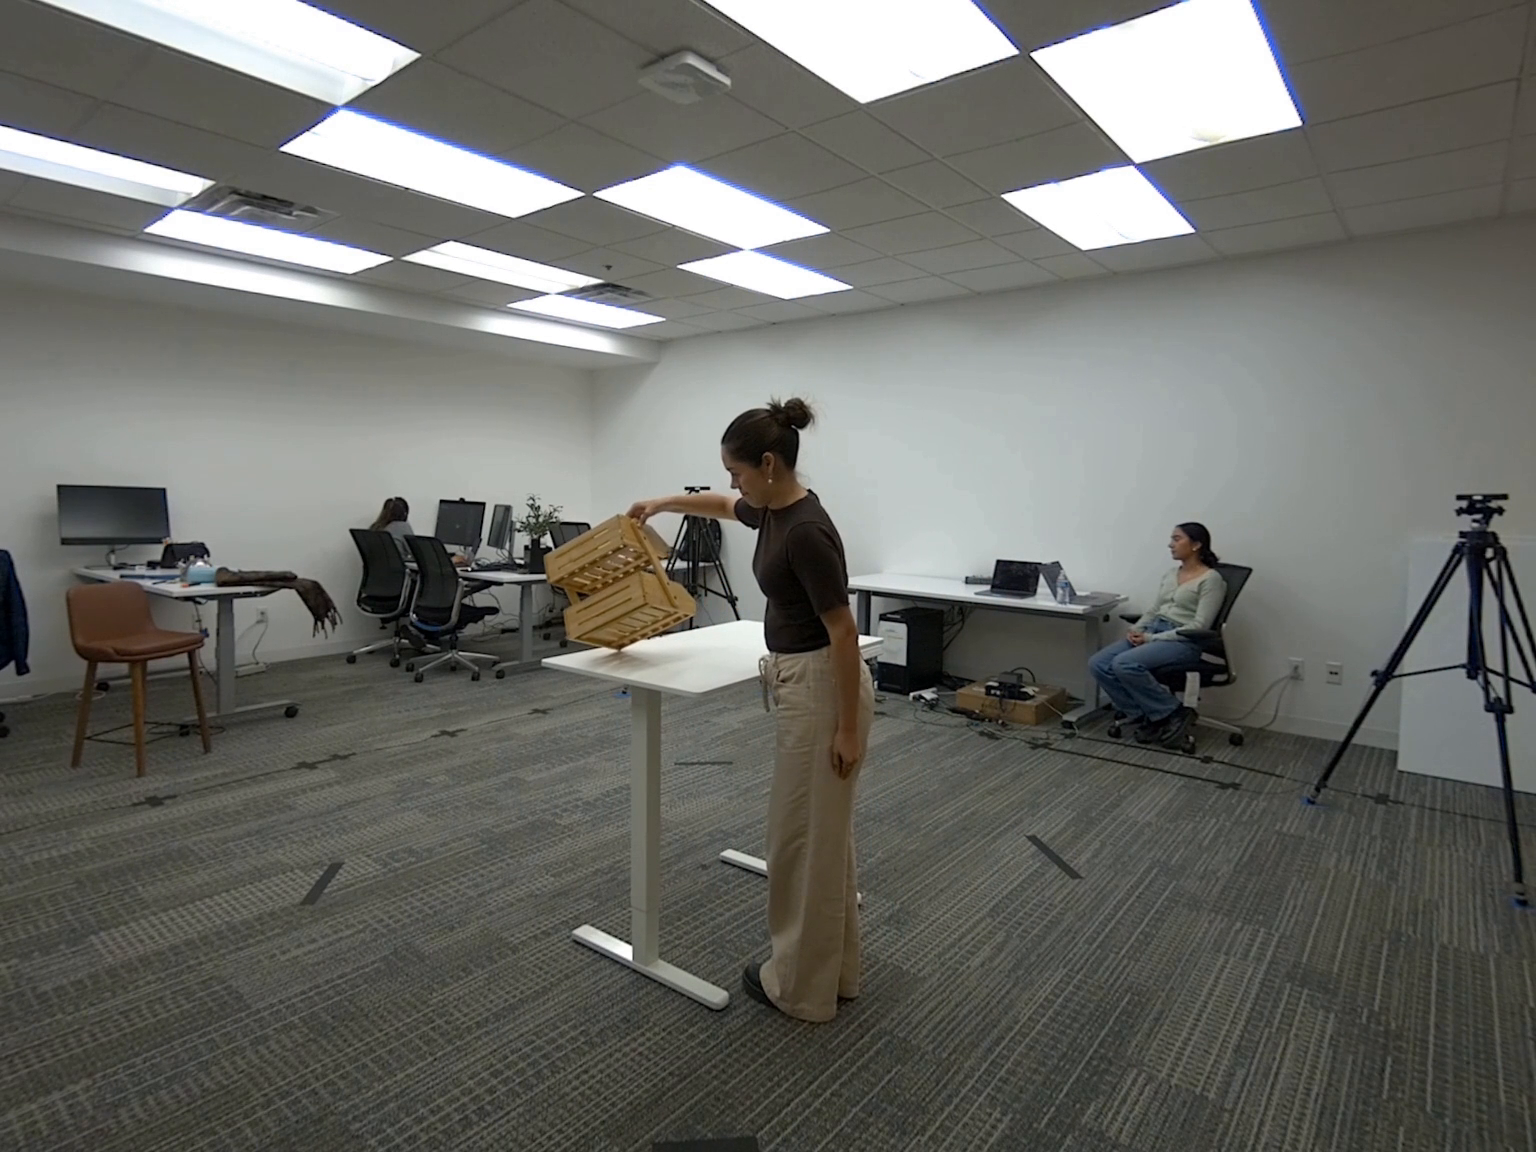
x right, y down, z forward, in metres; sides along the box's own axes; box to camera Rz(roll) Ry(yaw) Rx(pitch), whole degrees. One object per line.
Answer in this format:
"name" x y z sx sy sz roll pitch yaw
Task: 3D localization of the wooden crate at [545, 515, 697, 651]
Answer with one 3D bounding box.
"wooden crate" -0.451 0.026 2.525 0.328 0.280 0.290 -26 -26 26
